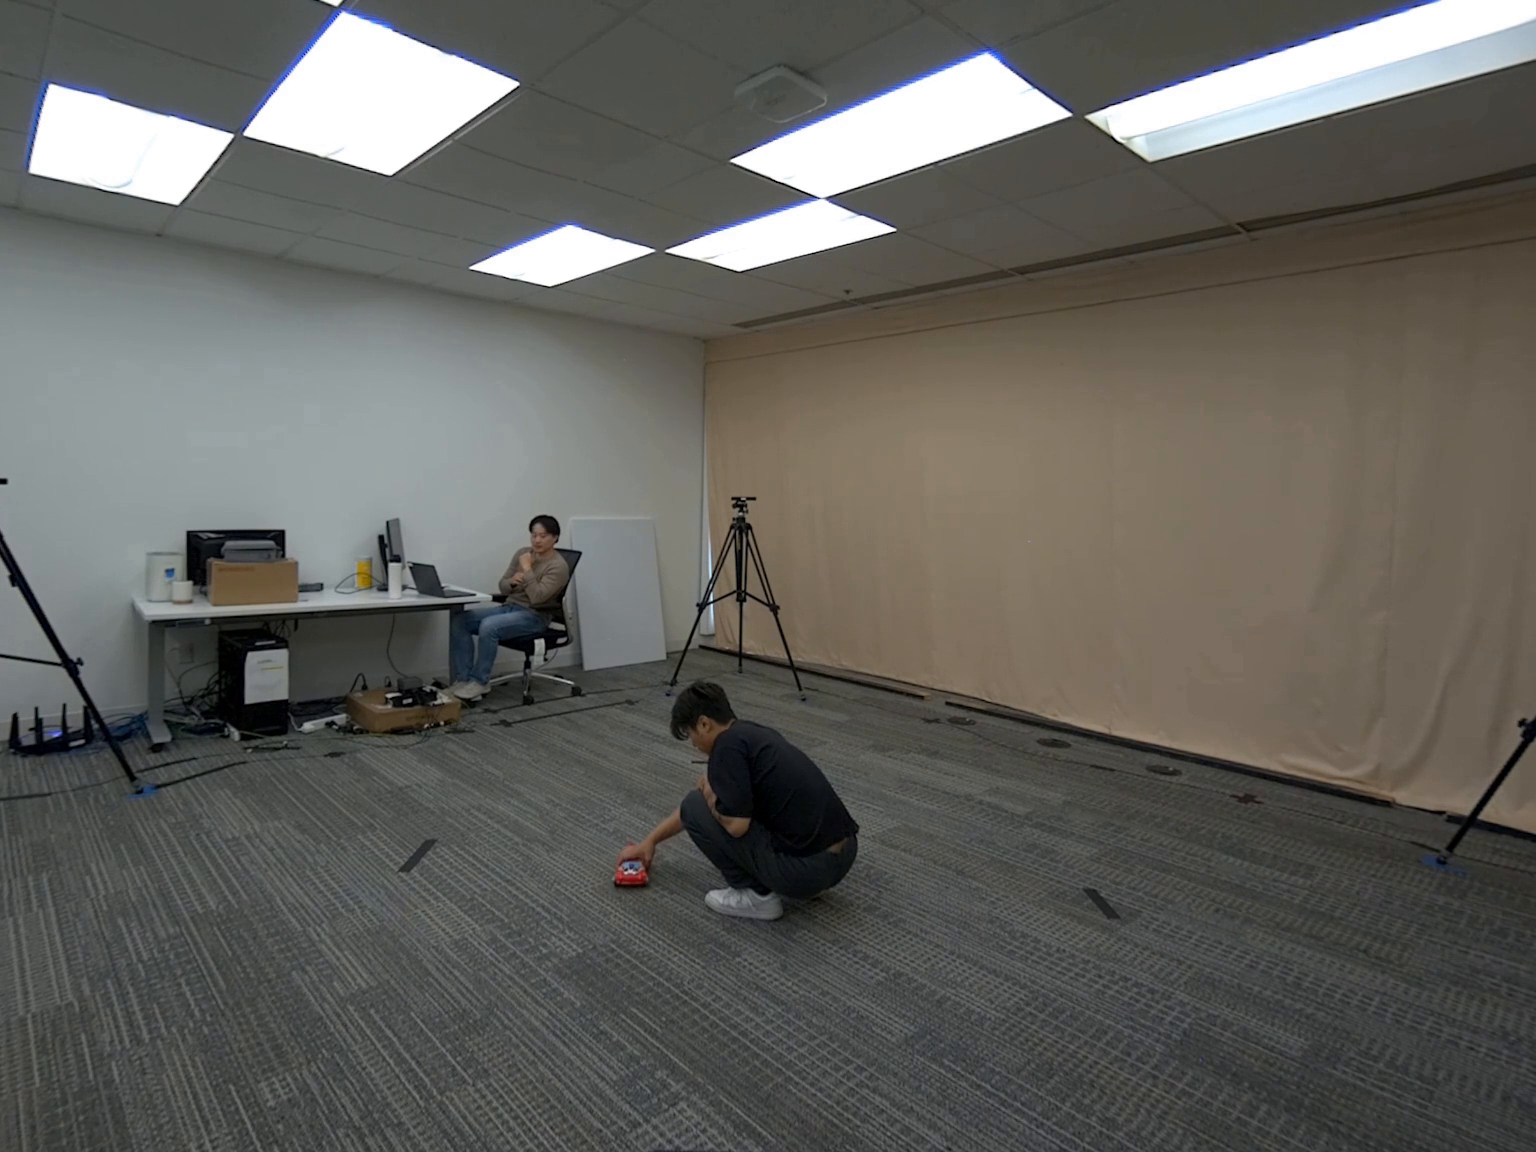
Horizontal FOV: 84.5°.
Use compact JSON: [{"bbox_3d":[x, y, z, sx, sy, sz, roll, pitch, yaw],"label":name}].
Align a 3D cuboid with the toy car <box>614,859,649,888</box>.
[{"bbox_3d":[-0.496,1.062,3.103,0.130,0.082,0.258,1,16,-3],"label":"toy car"}]
